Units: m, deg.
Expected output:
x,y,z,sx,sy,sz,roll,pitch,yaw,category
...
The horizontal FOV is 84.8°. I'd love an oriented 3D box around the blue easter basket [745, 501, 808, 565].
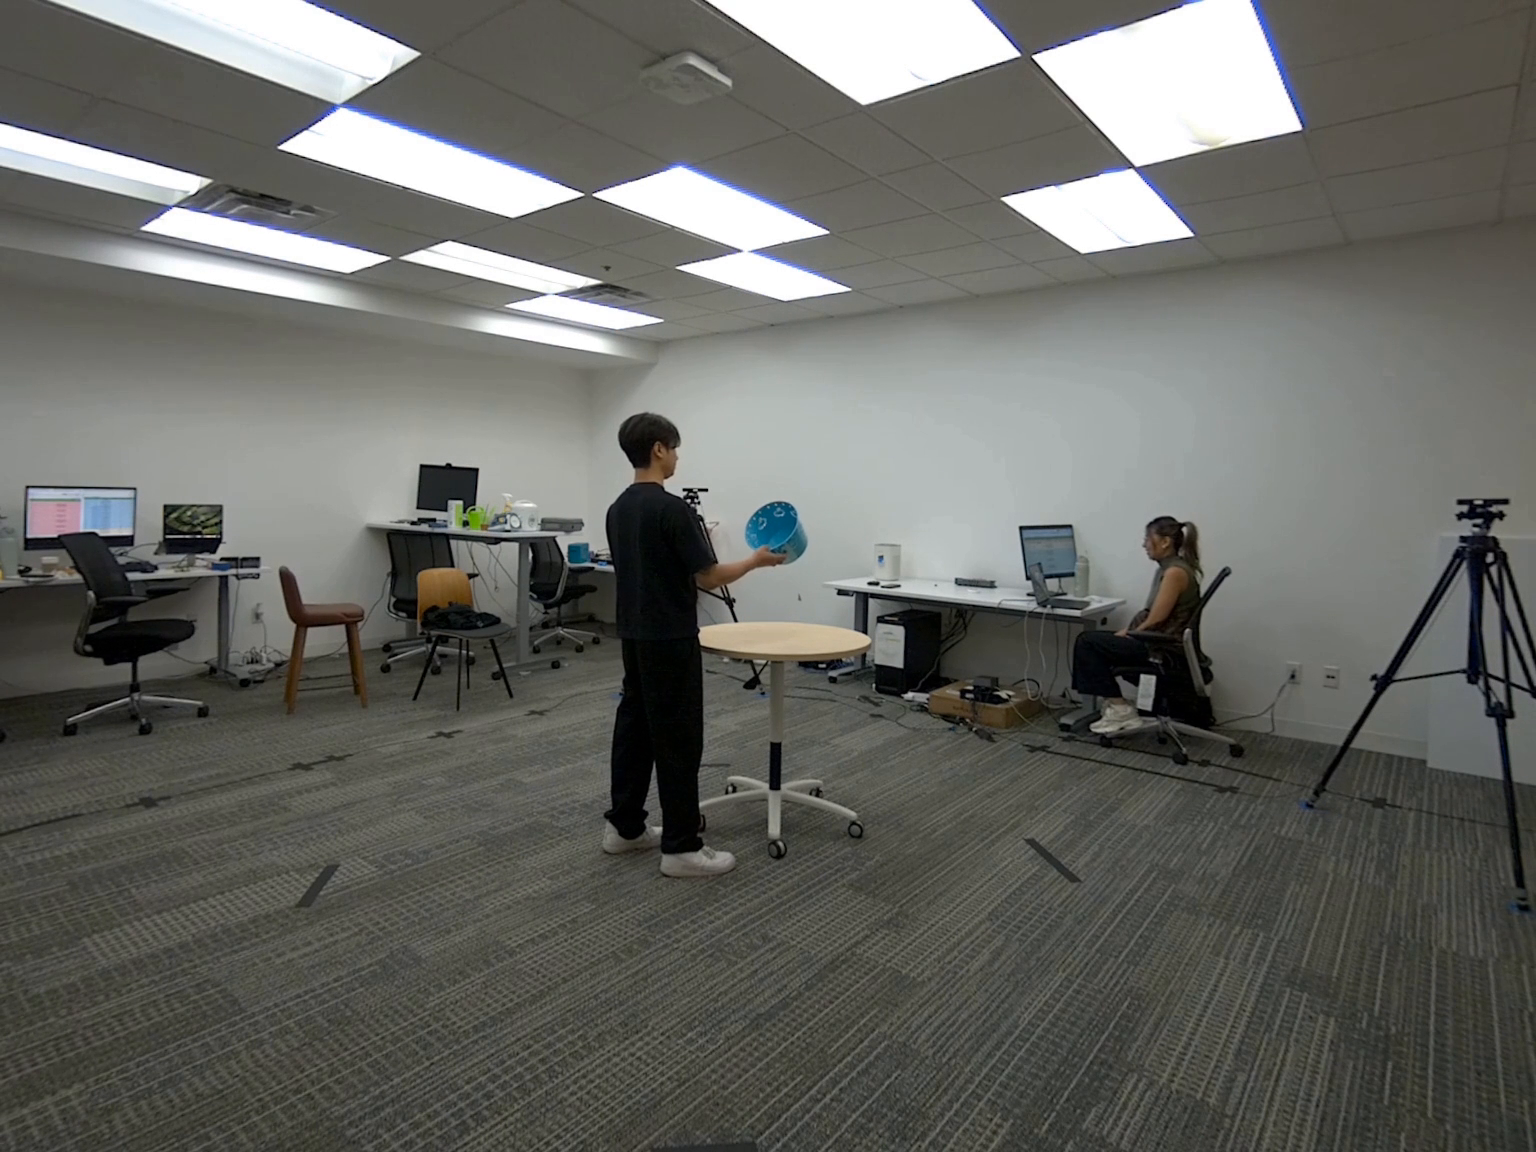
x,y,z,sx,sy,sz,roll,pitch,yaw,category
0.027,-0.161,3.366,0.251,0.246,0.149,3,-28,33,blue easter basket
